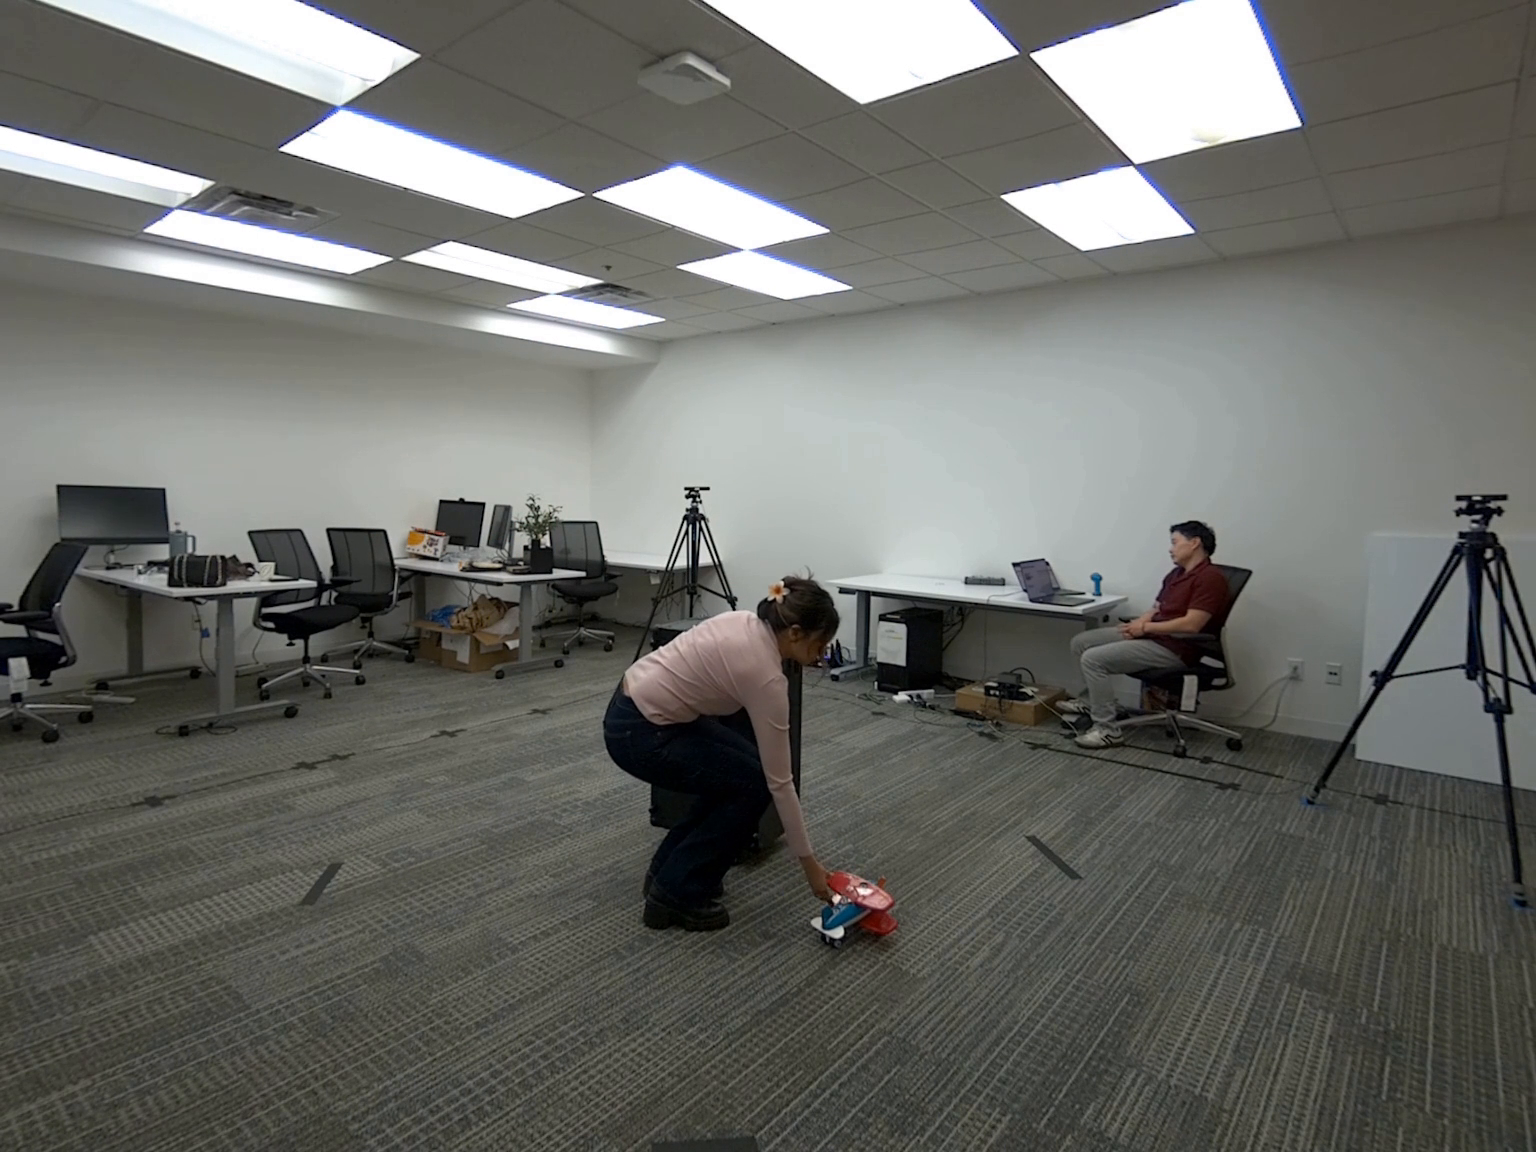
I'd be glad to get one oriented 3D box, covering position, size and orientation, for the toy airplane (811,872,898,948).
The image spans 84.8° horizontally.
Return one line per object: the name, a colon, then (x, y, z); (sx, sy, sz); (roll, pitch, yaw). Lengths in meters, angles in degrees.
toy airplane: (0.270, 1.051, 2.638); (0.257, 0.156, 0.254); (2, 2, 21)
